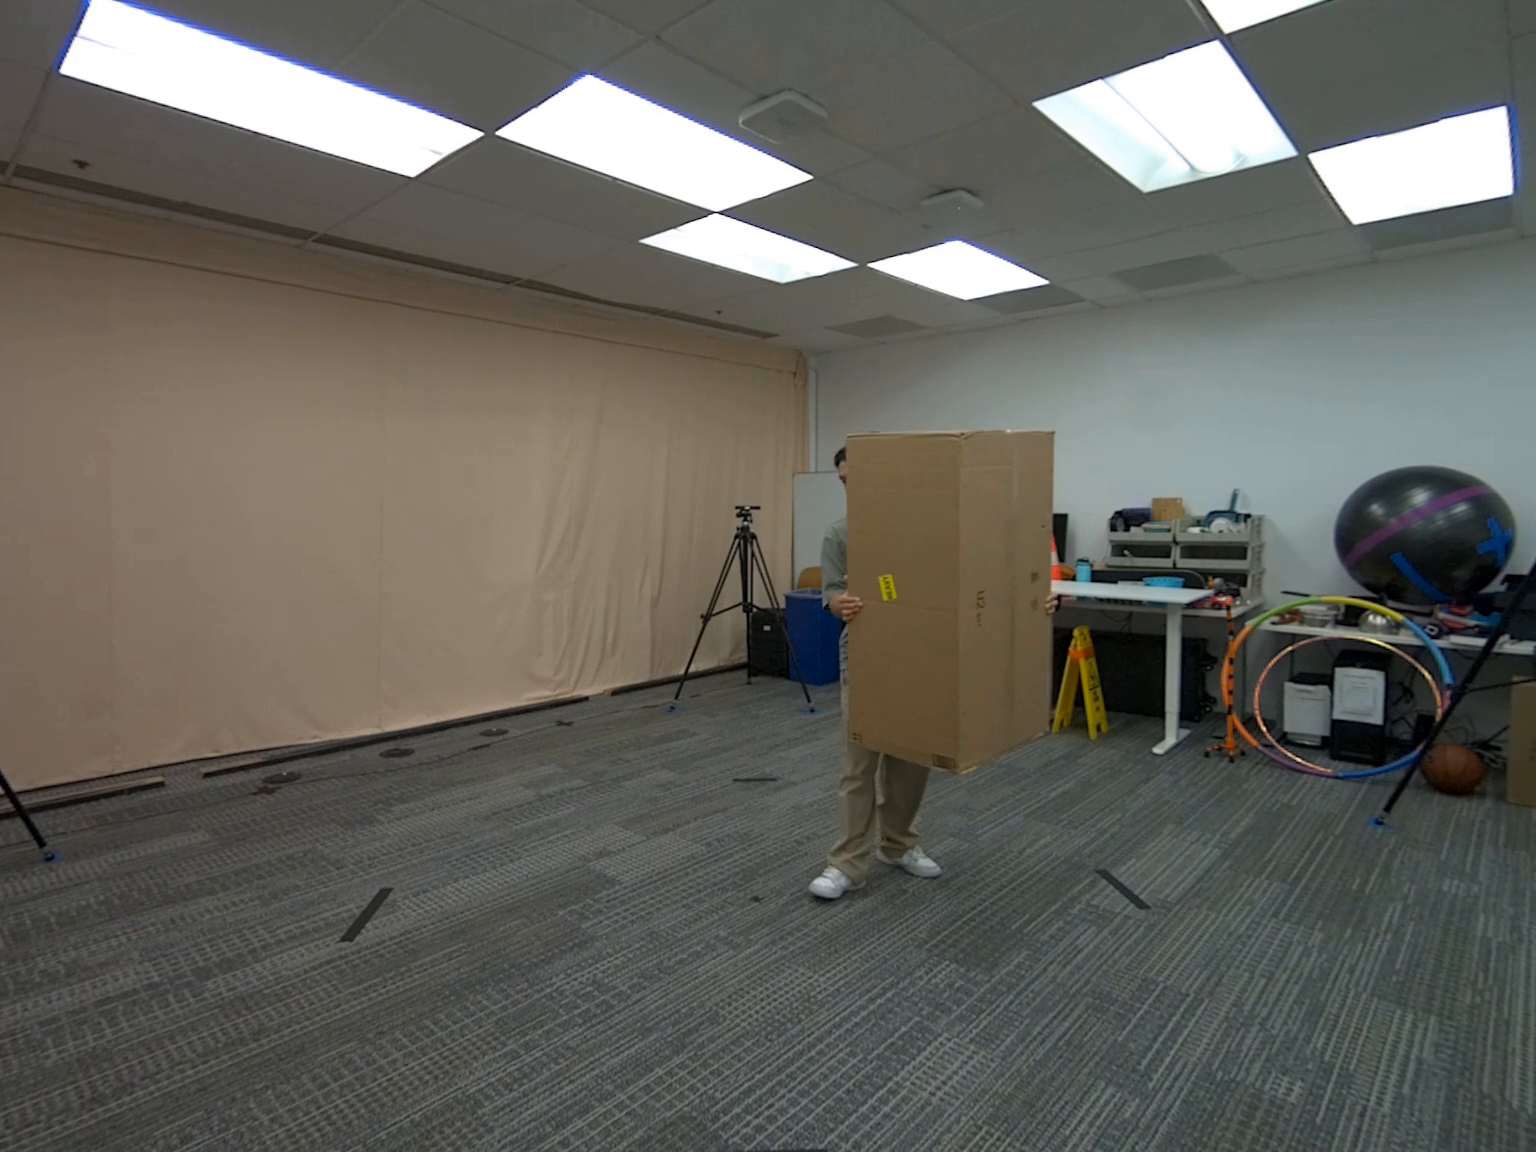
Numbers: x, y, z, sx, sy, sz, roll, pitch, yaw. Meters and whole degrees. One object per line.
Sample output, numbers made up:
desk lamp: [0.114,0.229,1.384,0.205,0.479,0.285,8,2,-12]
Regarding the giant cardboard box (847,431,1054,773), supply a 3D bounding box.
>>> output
giant cardboard box: [0.611,0.039,2.788,0.561,1.021,0.441,-8,10,-43]
